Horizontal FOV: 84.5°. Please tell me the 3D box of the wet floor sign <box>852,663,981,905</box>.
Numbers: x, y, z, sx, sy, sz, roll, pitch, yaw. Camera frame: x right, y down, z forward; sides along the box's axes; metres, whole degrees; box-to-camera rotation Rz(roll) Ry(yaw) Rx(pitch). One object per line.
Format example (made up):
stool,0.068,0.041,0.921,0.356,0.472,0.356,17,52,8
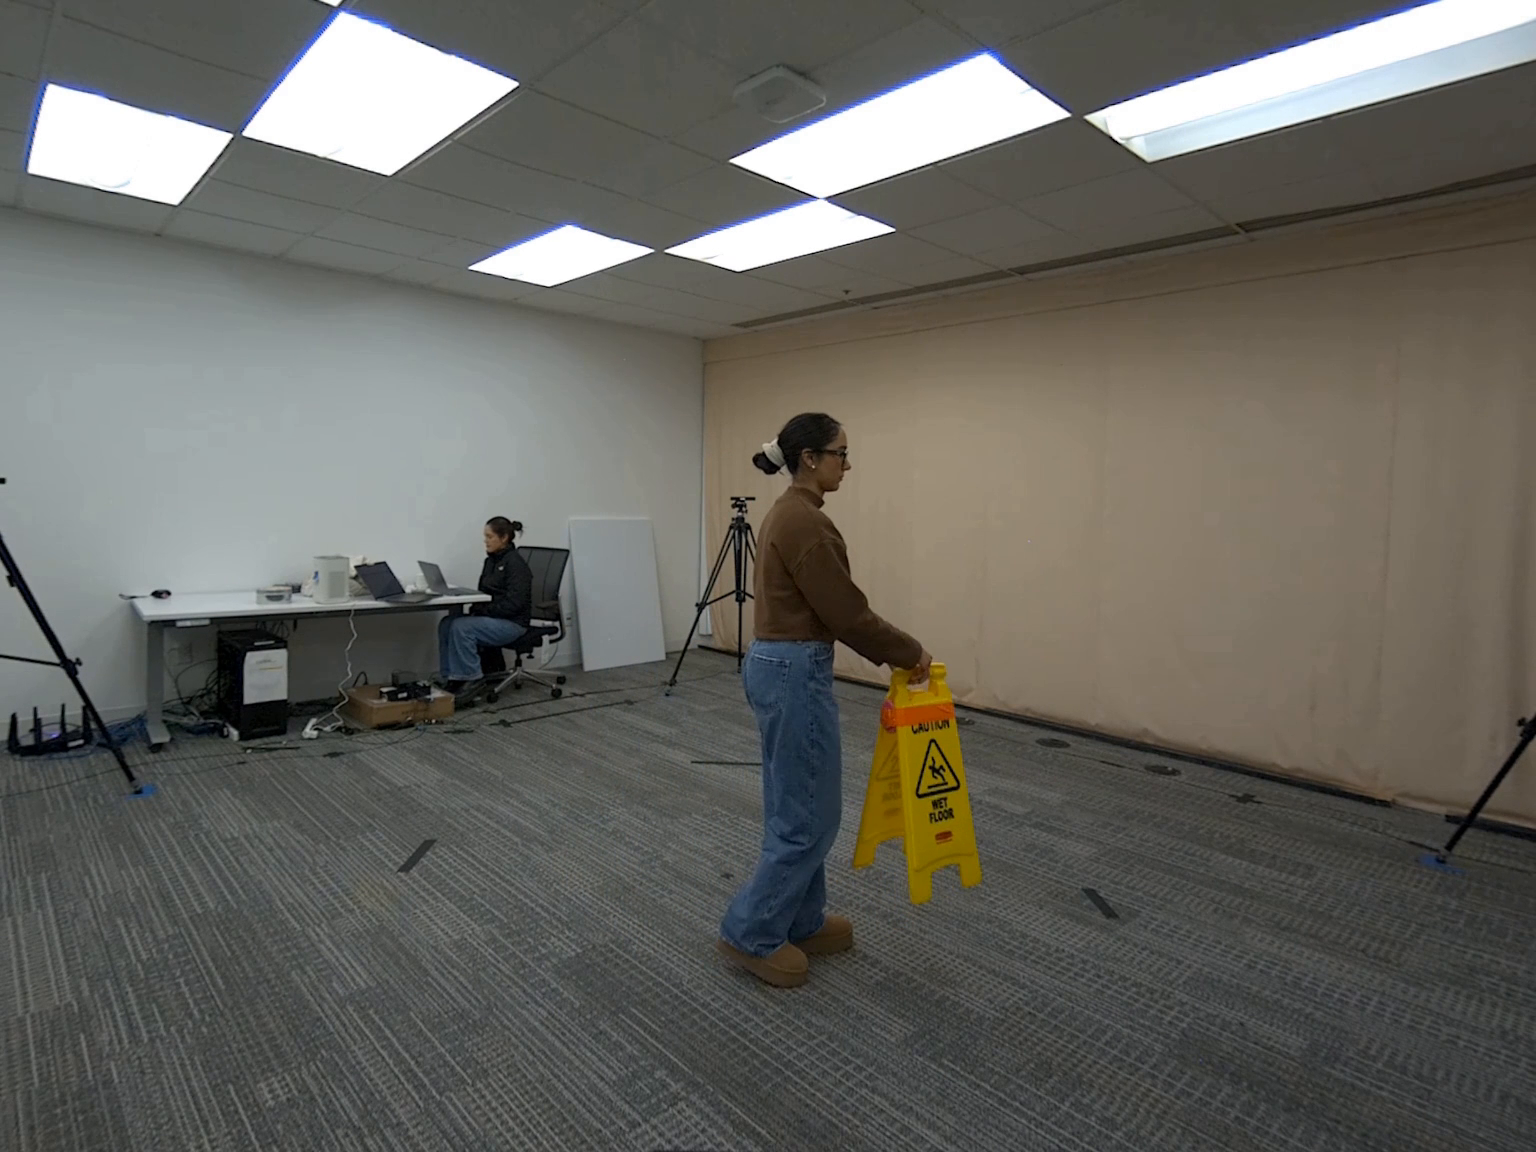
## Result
wet floor sign,0.448,0.594,2.542,0.276,0.644,0.296,-2,5,-32
